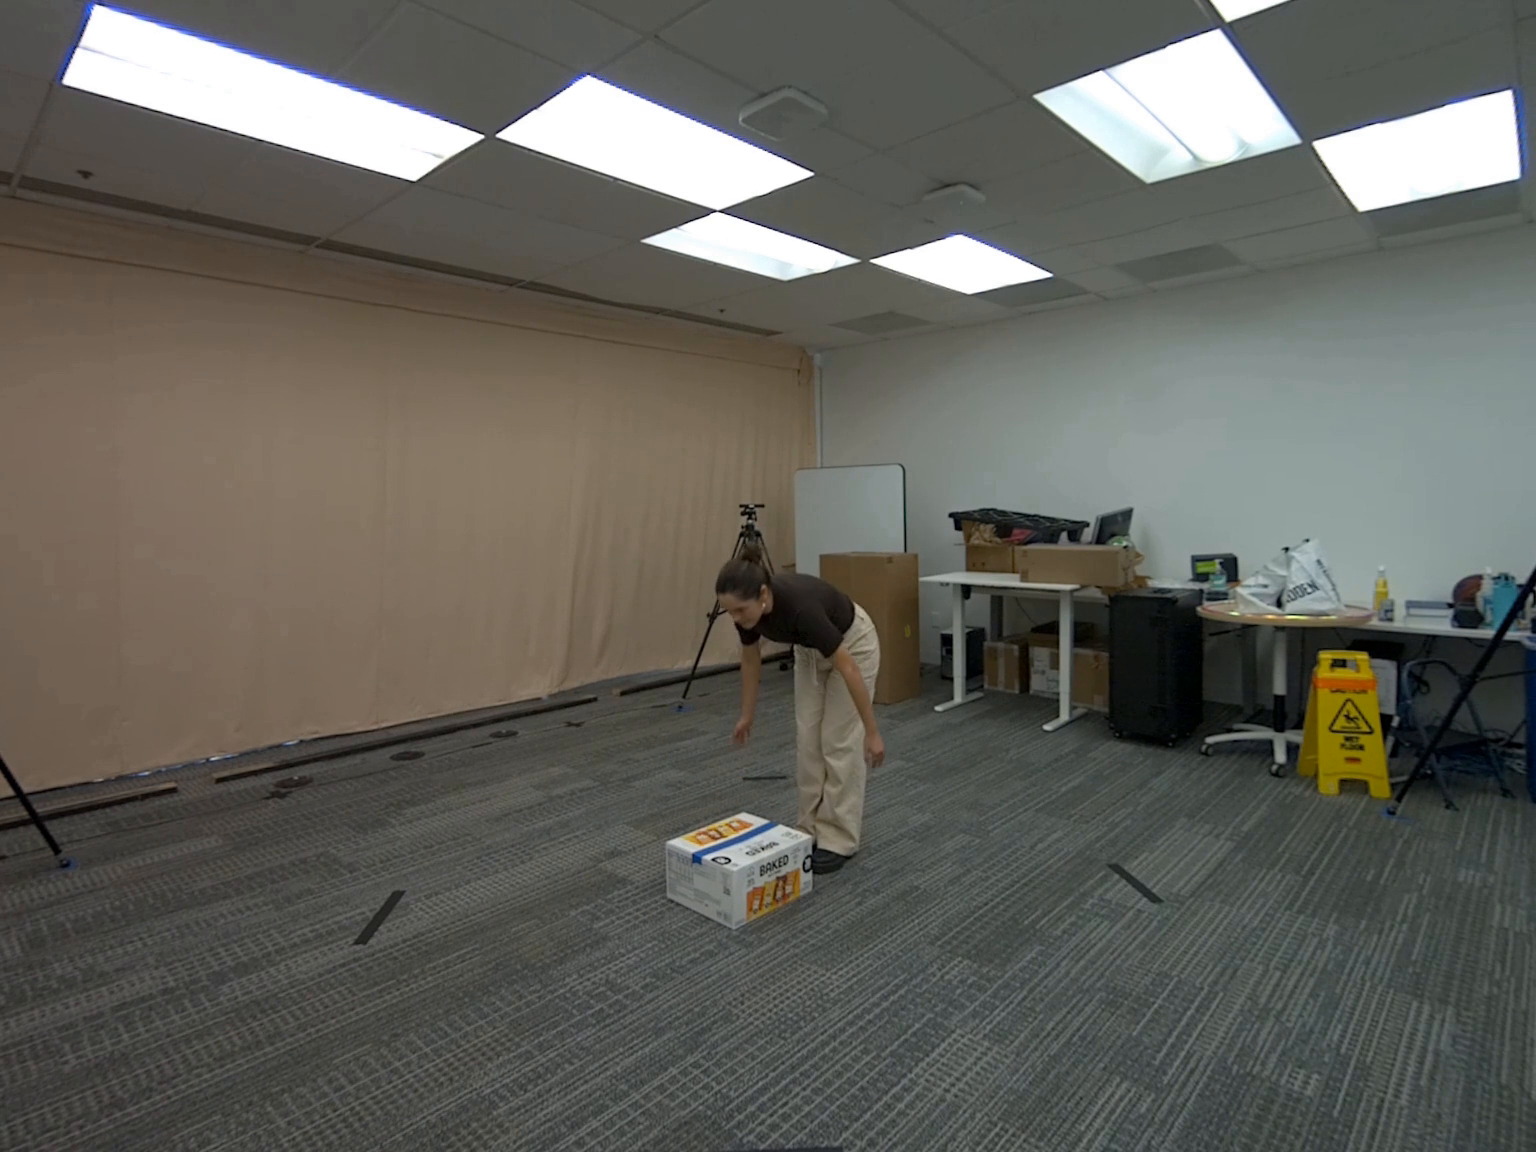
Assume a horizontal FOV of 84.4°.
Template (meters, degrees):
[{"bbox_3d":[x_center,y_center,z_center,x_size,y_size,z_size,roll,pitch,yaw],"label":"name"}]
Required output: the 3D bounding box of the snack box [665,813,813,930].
[{"bbox_3d":[-0.098,1.047,3.001,0.351,0.205,0.393,3,5,45],"label":"snack box"}]
